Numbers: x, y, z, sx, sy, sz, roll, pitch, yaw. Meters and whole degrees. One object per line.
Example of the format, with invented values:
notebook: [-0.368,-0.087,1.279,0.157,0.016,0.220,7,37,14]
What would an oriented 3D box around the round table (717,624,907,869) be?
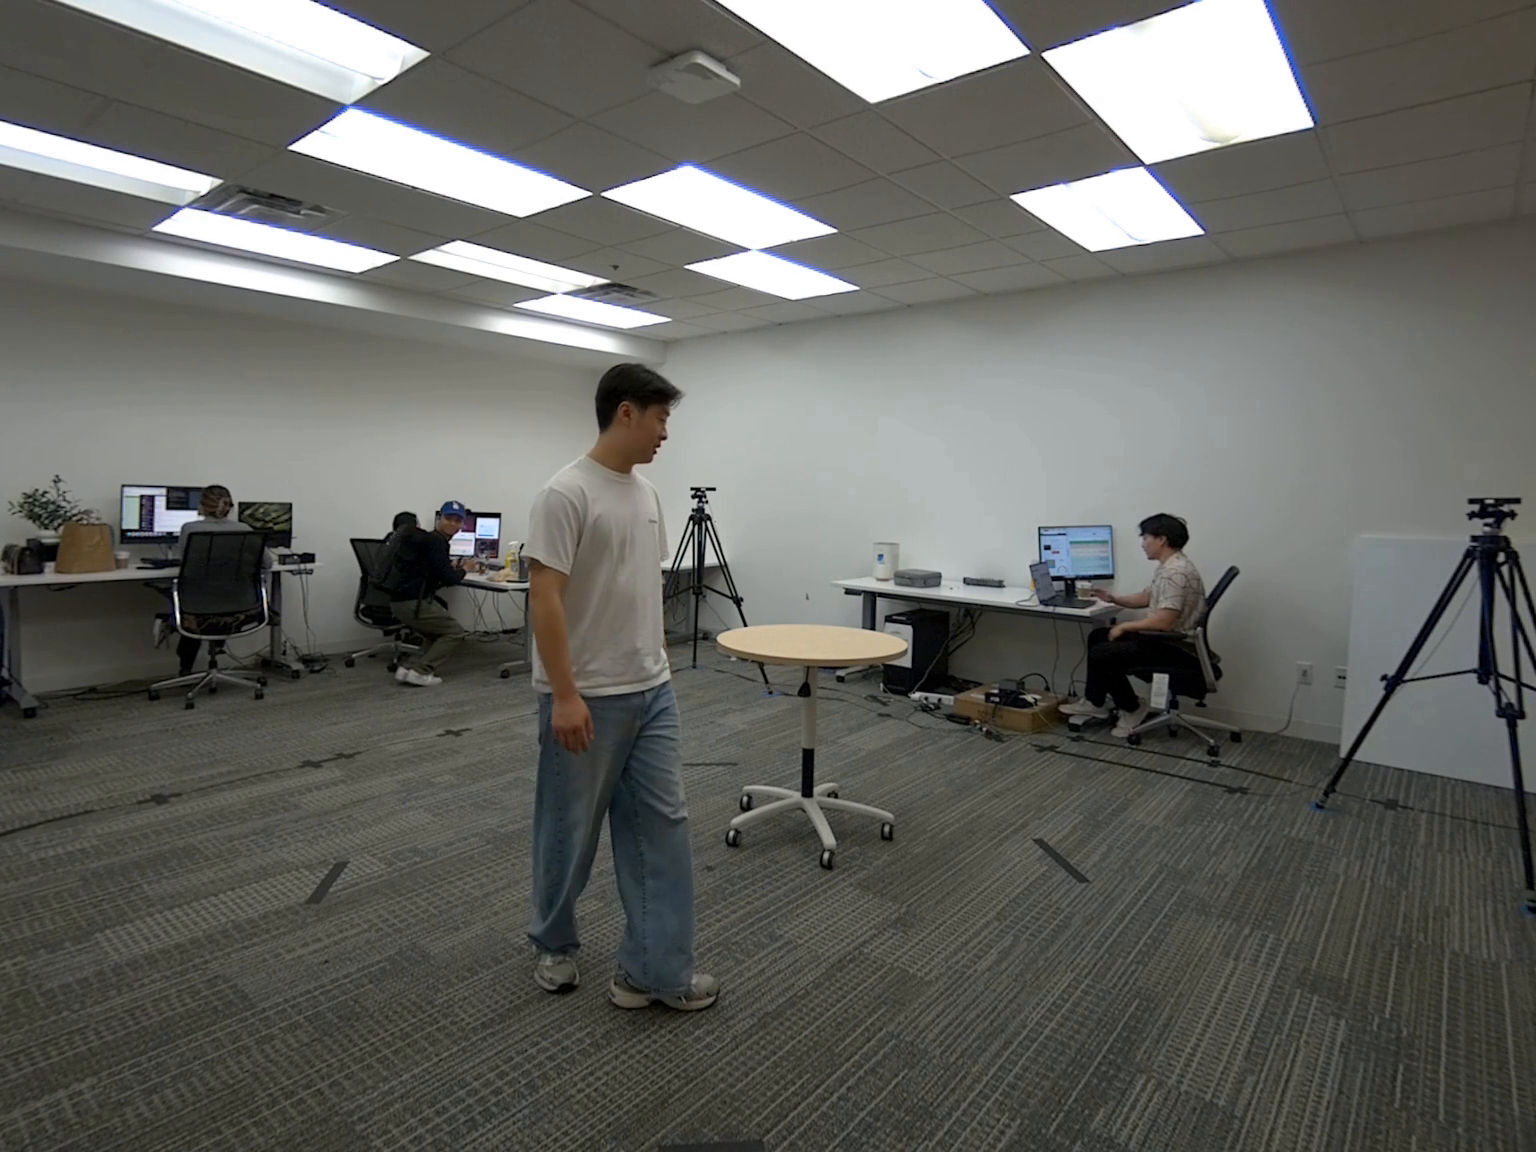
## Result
round table: [0.150,0.649,3.466,0.763,0.791,0.768,1,4,-2]
